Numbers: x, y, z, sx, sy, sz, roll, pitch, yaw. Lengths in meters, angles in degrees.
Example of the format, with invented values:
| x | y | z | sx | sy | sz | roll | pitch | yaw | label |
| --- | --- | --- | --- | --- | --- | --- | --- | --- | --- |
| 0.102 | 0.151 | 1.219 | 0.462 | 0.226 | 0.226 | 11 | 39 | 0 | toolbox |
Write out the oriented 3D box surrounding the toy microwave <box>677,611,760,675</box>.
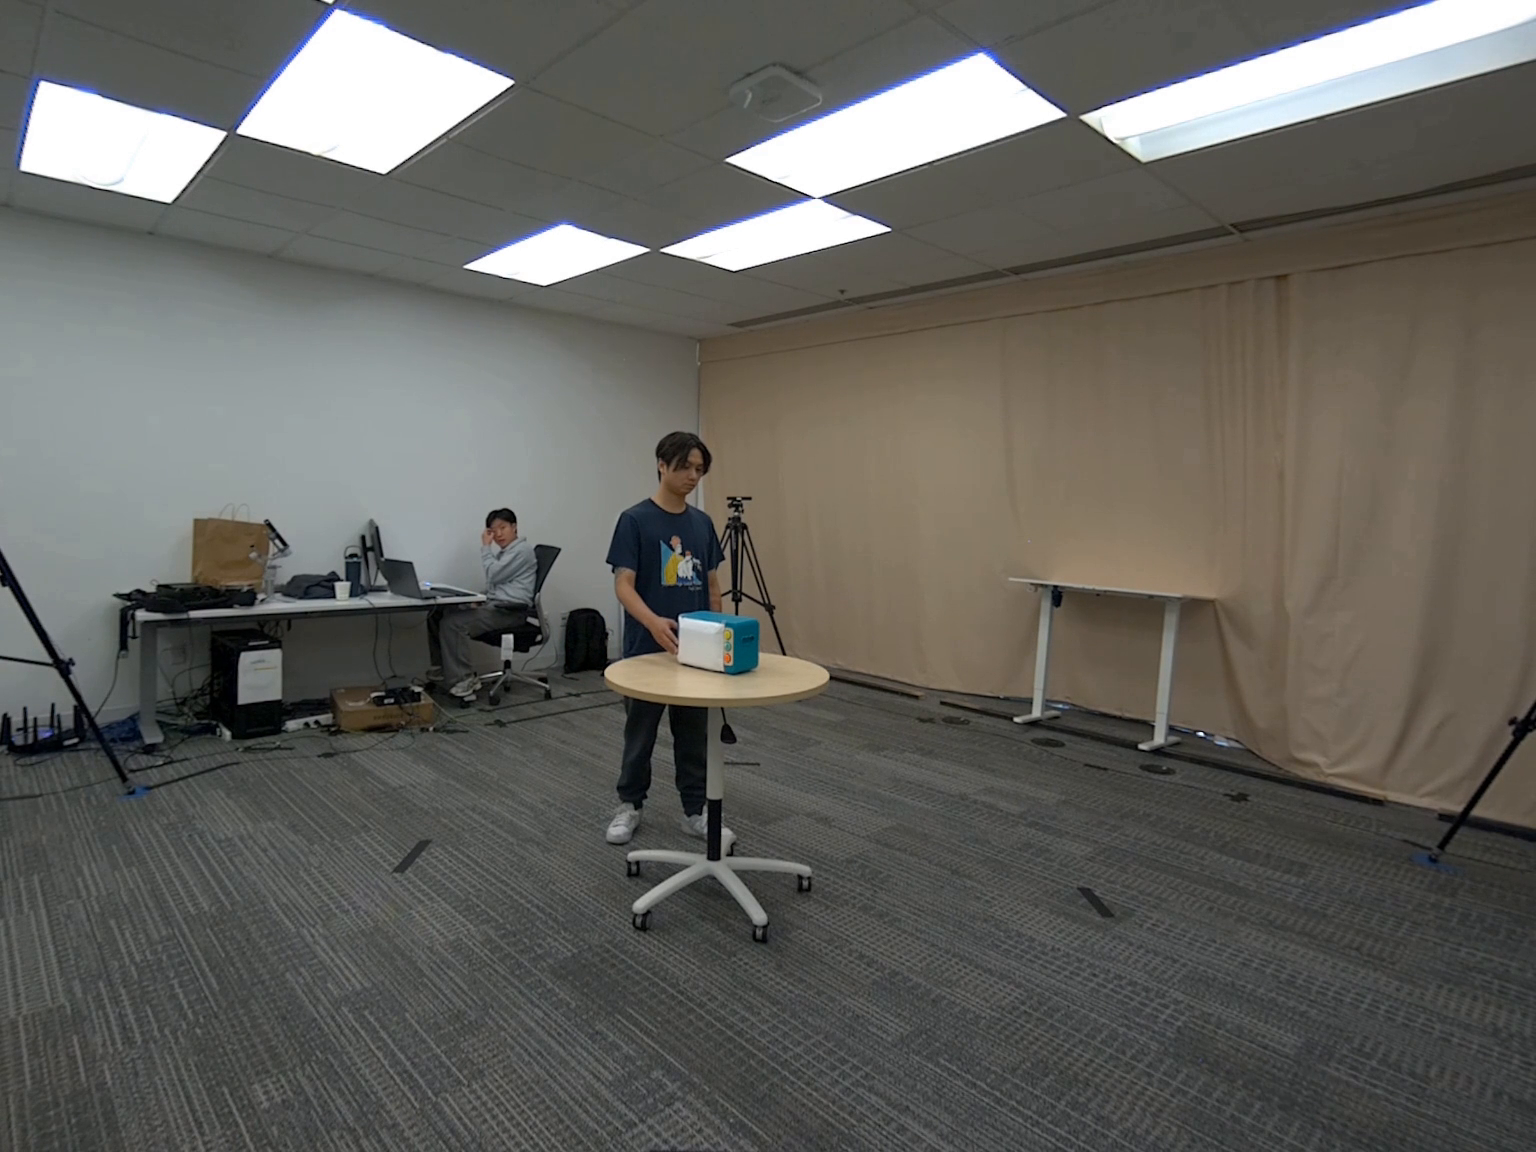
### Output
| x | y | z | sx | sy | sz | roll | pitch | yaw | label |
| --- | --- | --- | --- | --- | --- | --- | --- | --- | --- |
| -0.185 | 0.234 | 2.914 | 0.293 | 0.183 | 0.149 | 3 | 5 | 35 | toy microwave |
